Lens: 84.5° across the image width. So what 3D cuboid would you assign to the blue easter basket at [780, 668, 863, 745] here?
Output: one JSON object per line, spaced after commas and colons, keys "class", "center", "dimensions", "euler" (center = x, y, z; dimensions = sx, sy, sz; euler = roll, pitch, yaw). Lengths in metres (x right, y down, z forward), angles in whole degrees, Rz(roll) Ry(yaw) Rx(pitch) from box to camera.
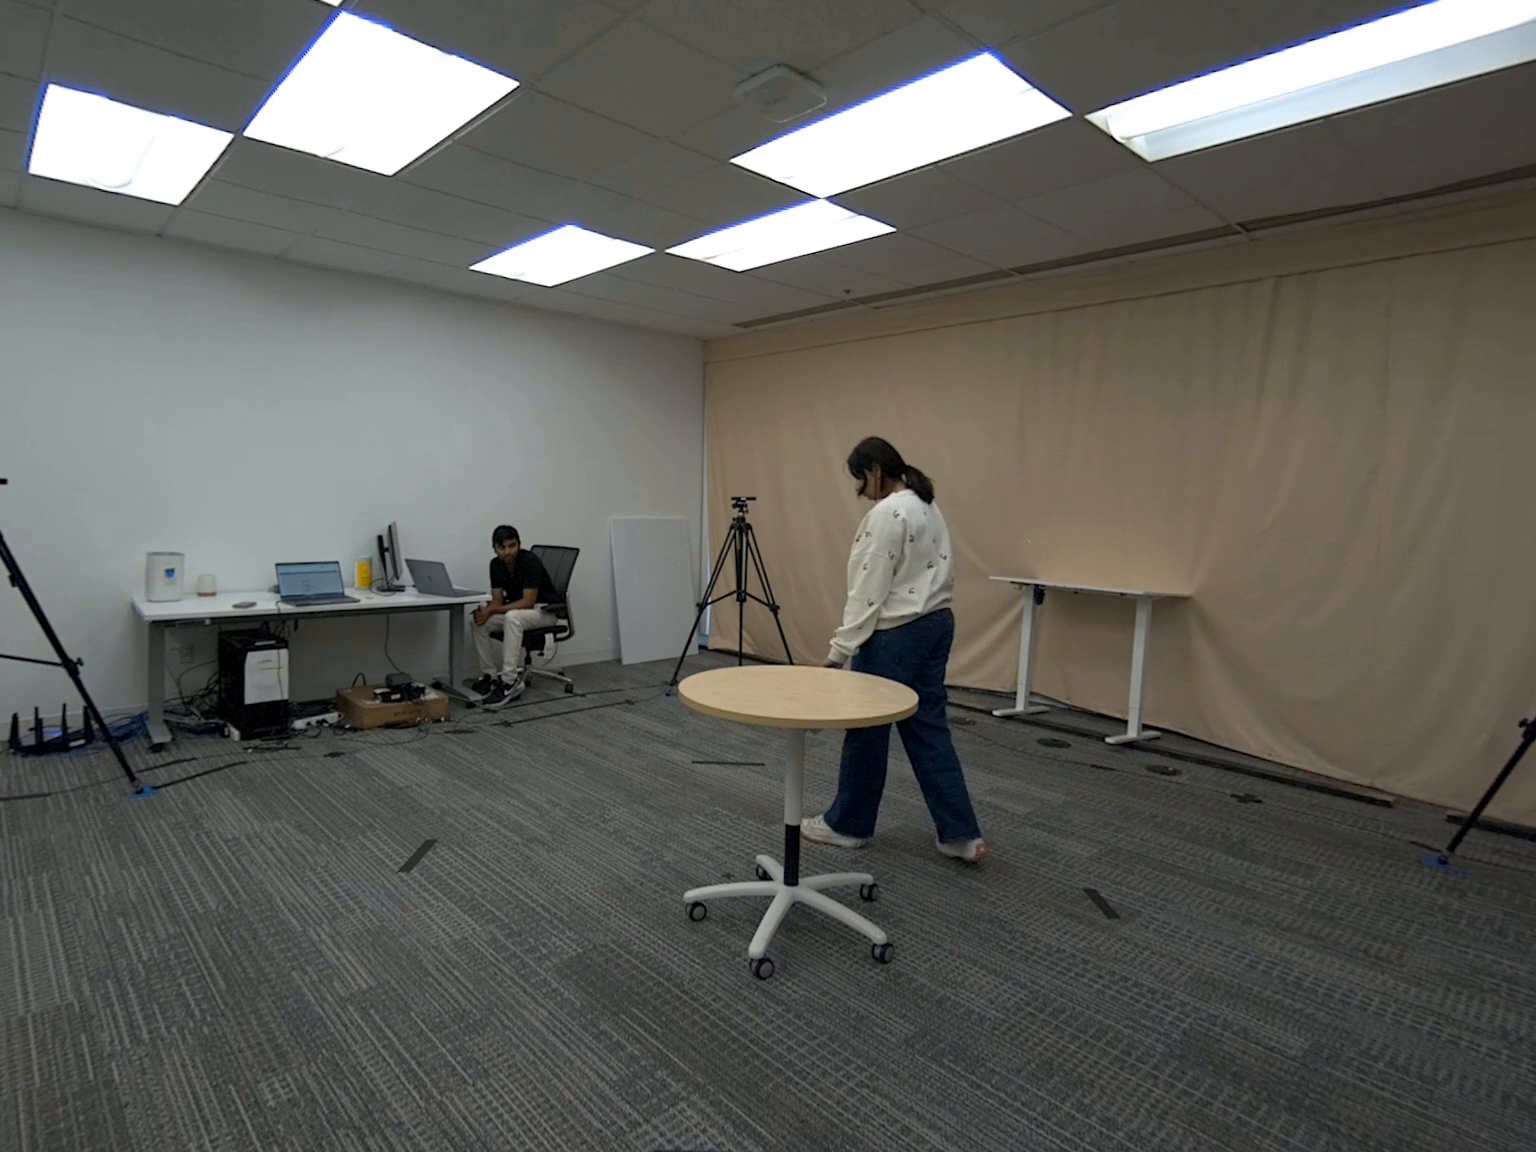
{"class": "blue easter basket", "center": [0.199, 0.500, 3.267], "dimensions": [0.243, 0.158, 0.241], "euler": [-35, -12, -11]}
